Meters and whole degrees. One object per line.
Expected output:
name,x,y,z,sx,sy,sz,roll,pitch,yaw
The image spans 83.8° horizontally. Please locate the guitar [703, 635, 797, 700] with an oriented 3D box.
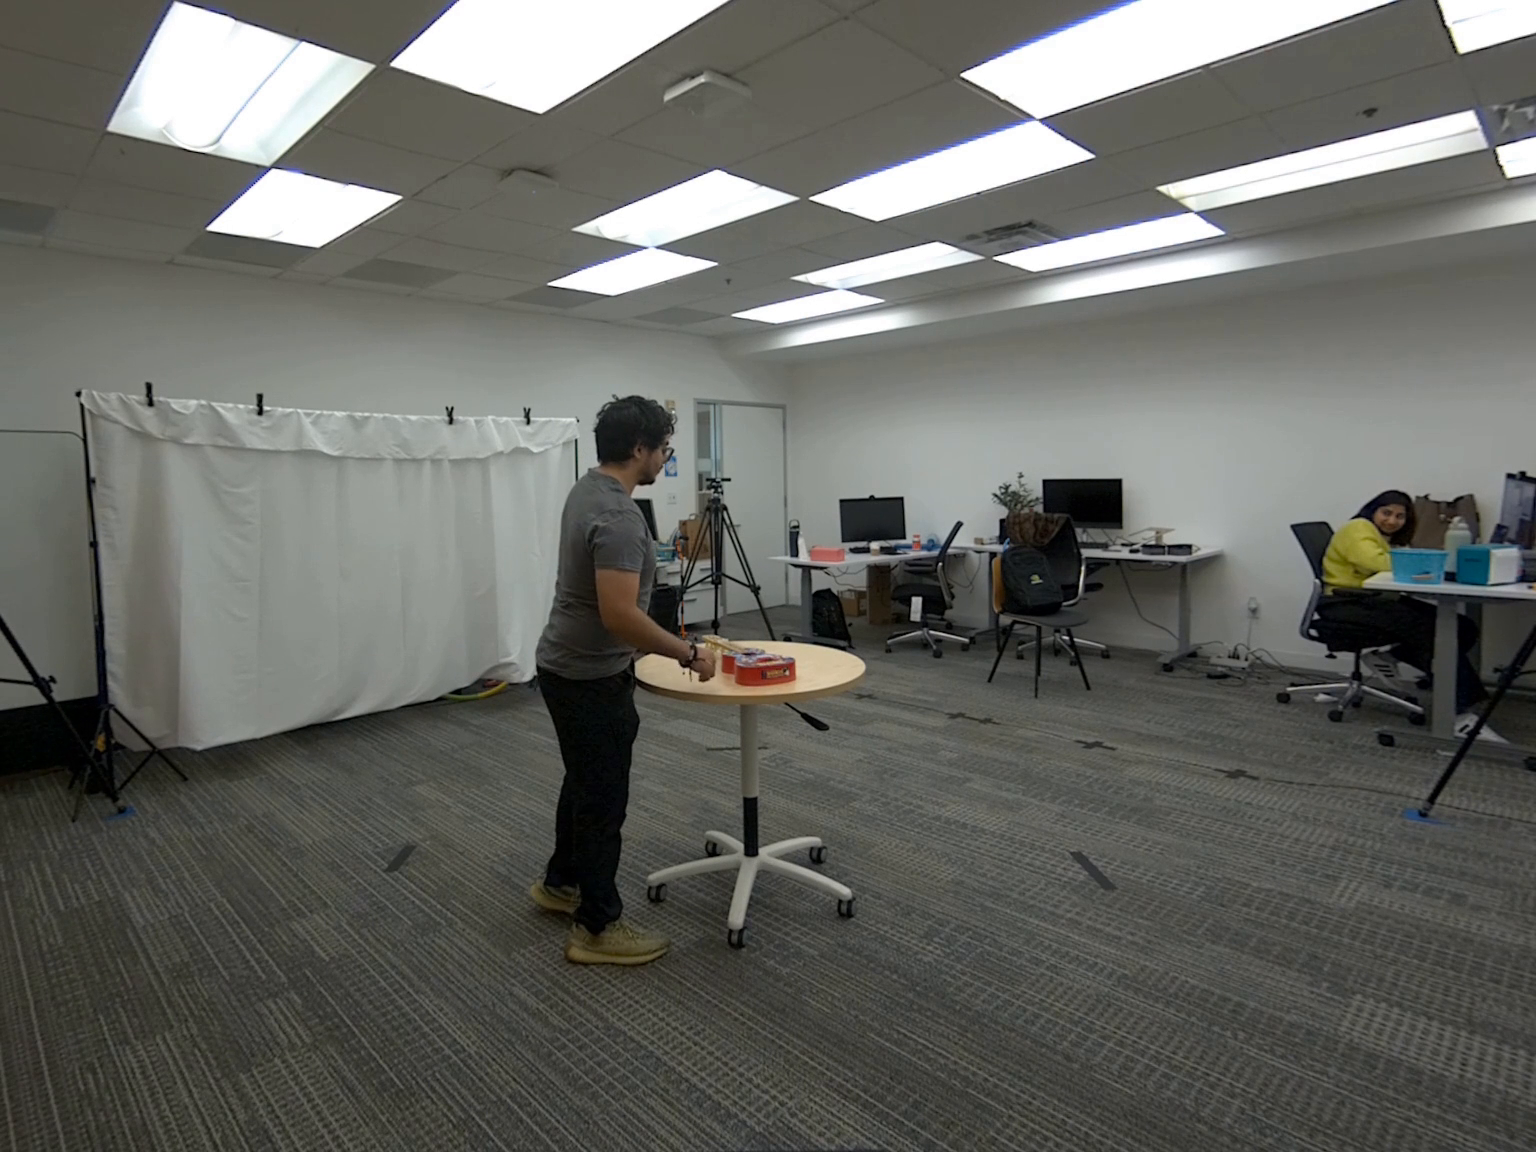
guitar,-0.064,0.265,2.773,0.190,0.070,0.508,-4,8,-17
